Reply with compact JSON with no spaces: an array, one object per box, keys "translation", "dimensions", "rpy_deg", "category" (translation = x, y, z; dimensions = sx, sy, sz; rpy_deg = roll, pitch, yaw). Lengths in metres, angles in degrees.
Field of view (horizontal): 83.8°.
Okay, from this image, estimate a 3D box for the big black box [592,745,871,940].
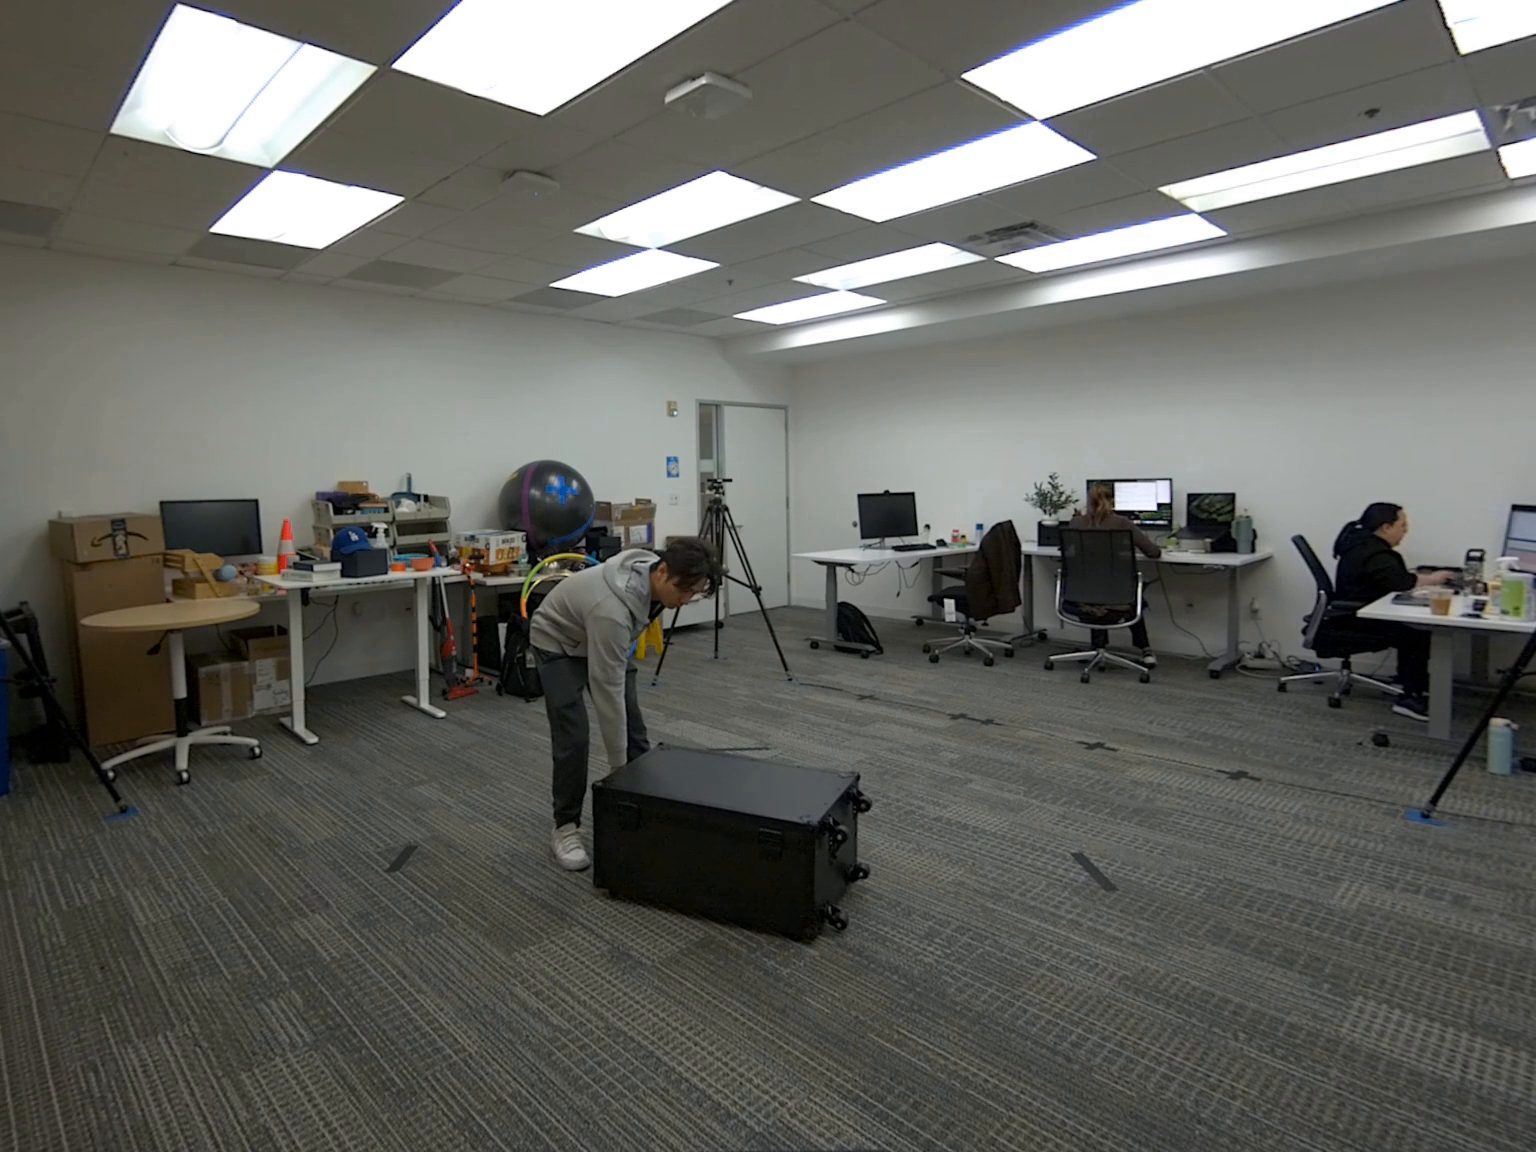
[{"translation":[-0.161,0.870,2.929],"dimensions":[0.881,0.395,0.512],"rpy_deg":[3,6,24],"category":"big black box"}]
